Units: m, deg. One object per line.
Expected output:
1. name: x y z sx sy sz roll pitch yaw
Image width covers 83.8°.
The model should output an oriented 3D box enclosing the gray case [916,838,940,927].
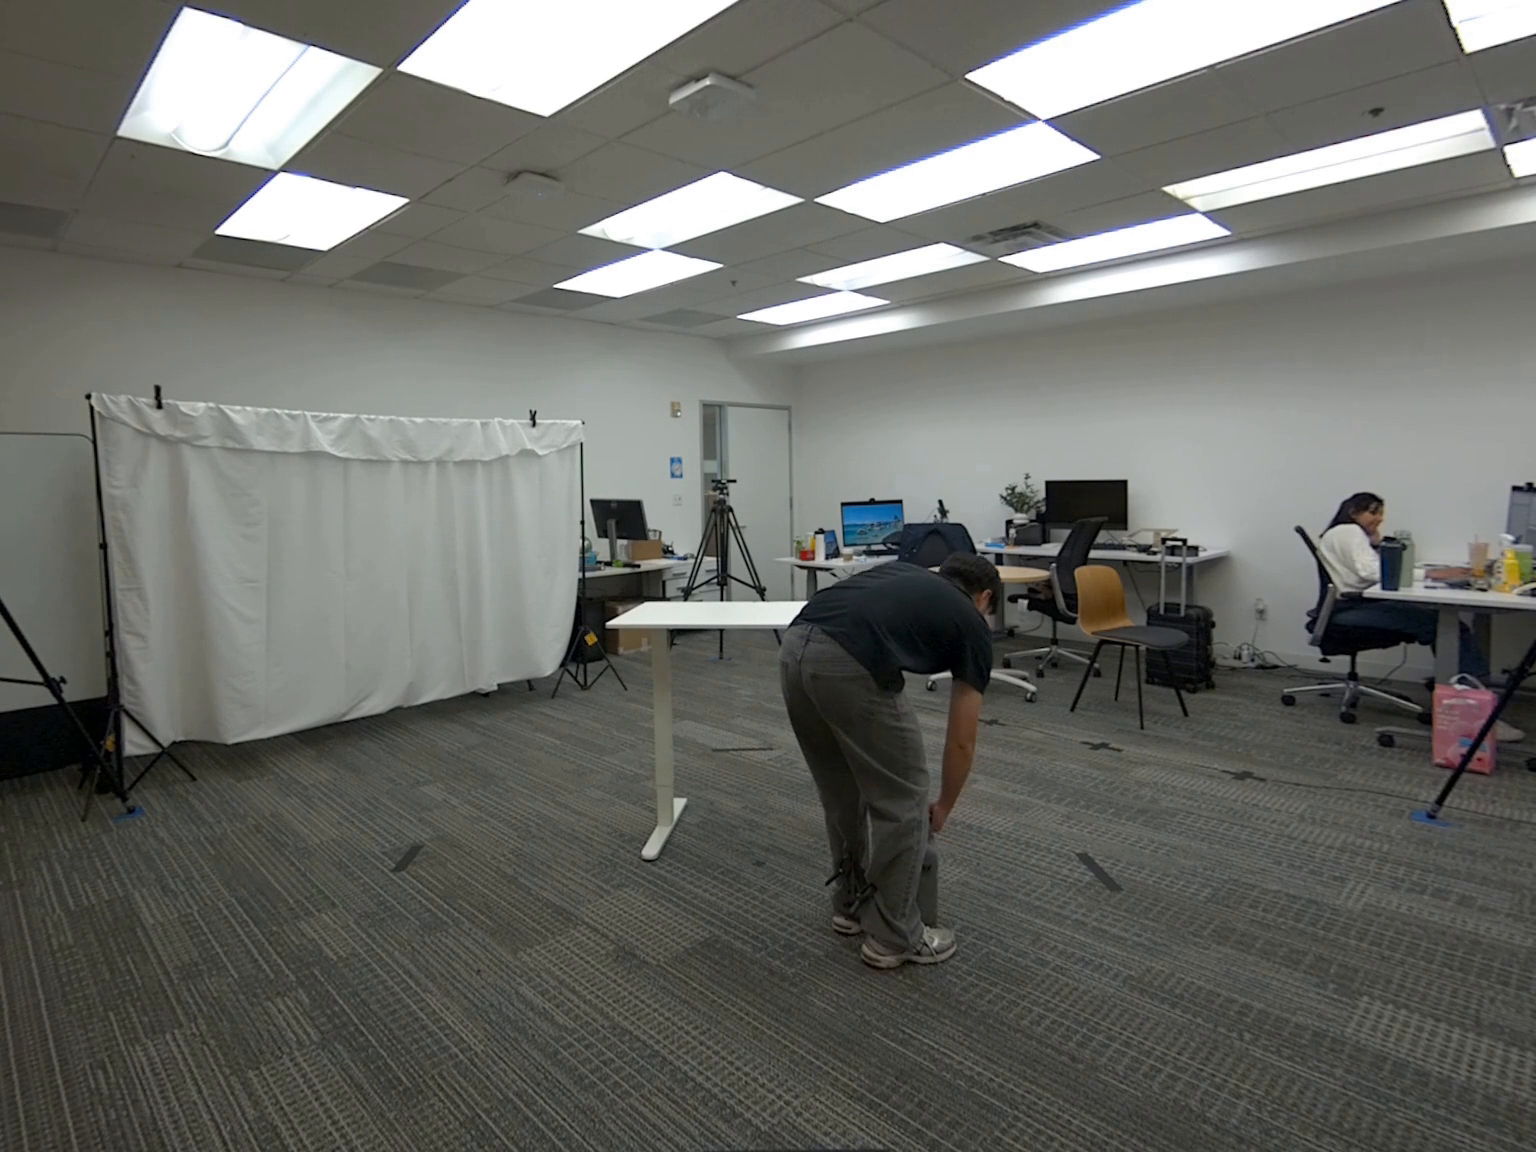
1. gray case: 0.493 0.906 2.711 0.104 0.287 0.261 1 3 7
